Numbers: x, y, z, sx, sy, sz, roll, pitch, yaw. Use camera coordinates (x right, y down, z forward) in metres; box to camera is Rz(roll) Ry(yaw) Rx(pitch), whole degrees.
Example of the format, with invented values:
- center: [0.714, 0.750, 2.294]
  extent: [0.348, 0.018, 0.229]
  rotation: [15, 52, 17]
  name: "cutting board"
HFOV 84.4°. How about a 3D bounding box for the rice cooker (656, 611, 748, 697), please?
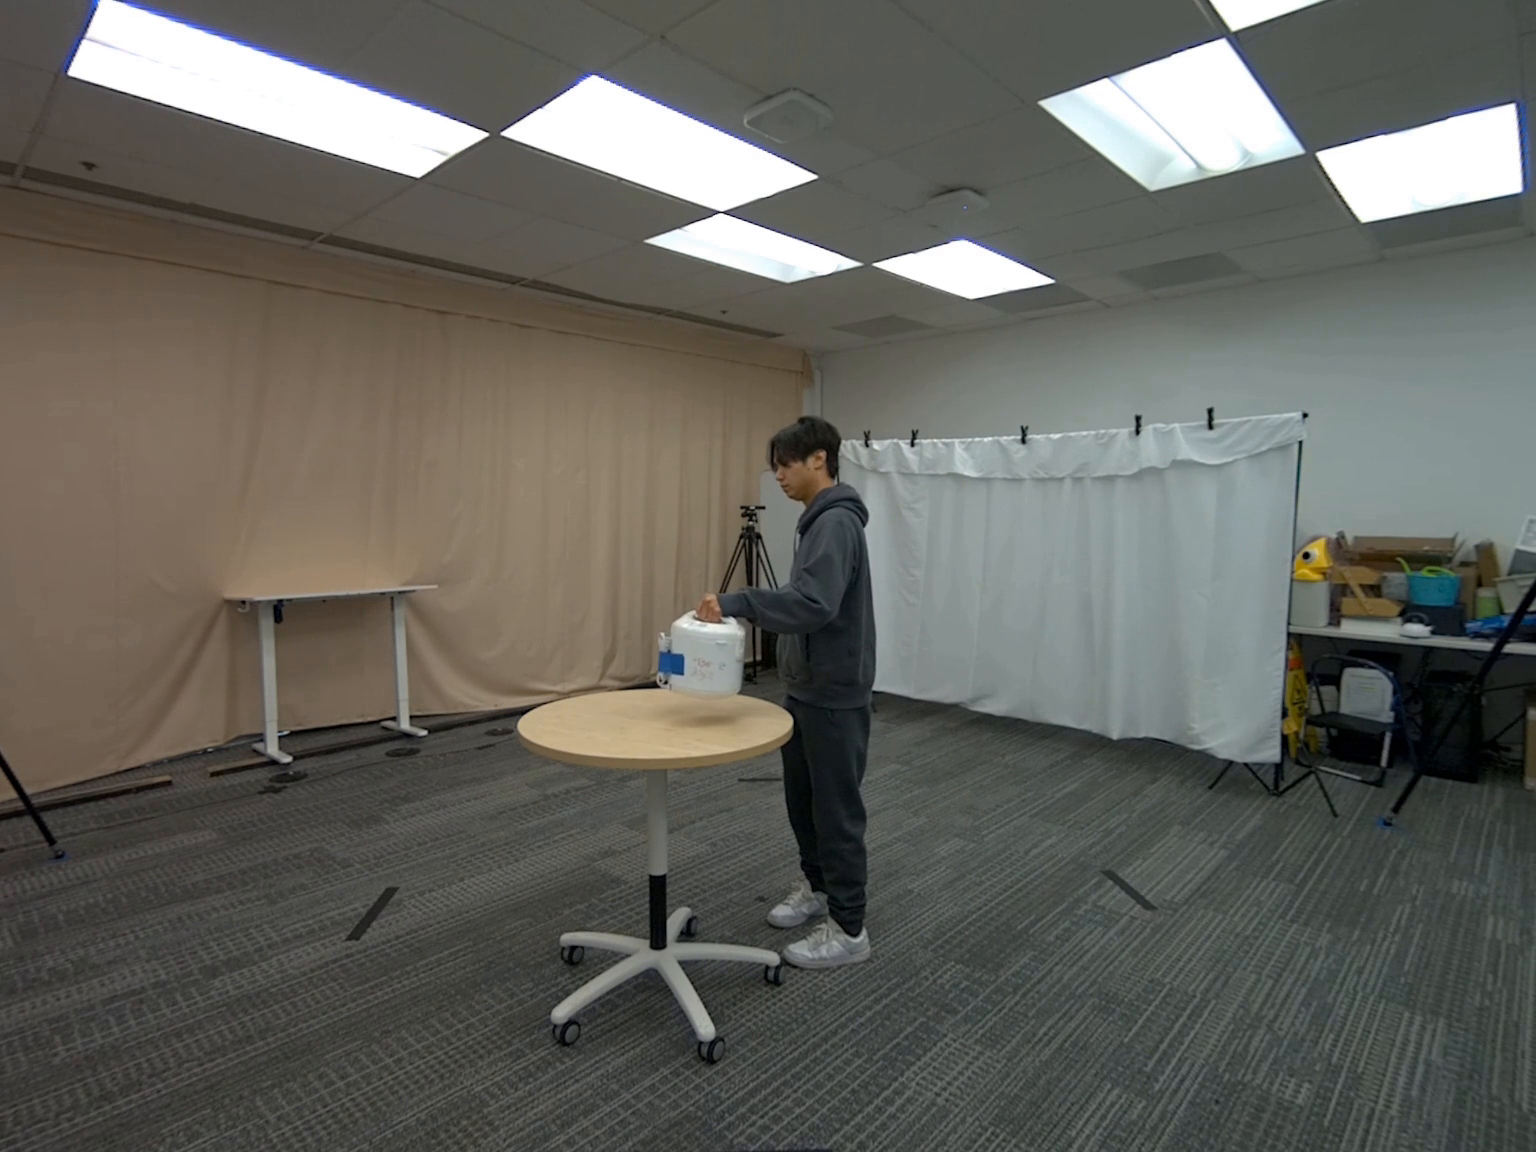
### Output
- center: [-0.167, 0.208, 2.343]
  extent: [0.227, 0.232, 0.211]
  rotation: [9, 5, 29]
  name: "rice cooker"
